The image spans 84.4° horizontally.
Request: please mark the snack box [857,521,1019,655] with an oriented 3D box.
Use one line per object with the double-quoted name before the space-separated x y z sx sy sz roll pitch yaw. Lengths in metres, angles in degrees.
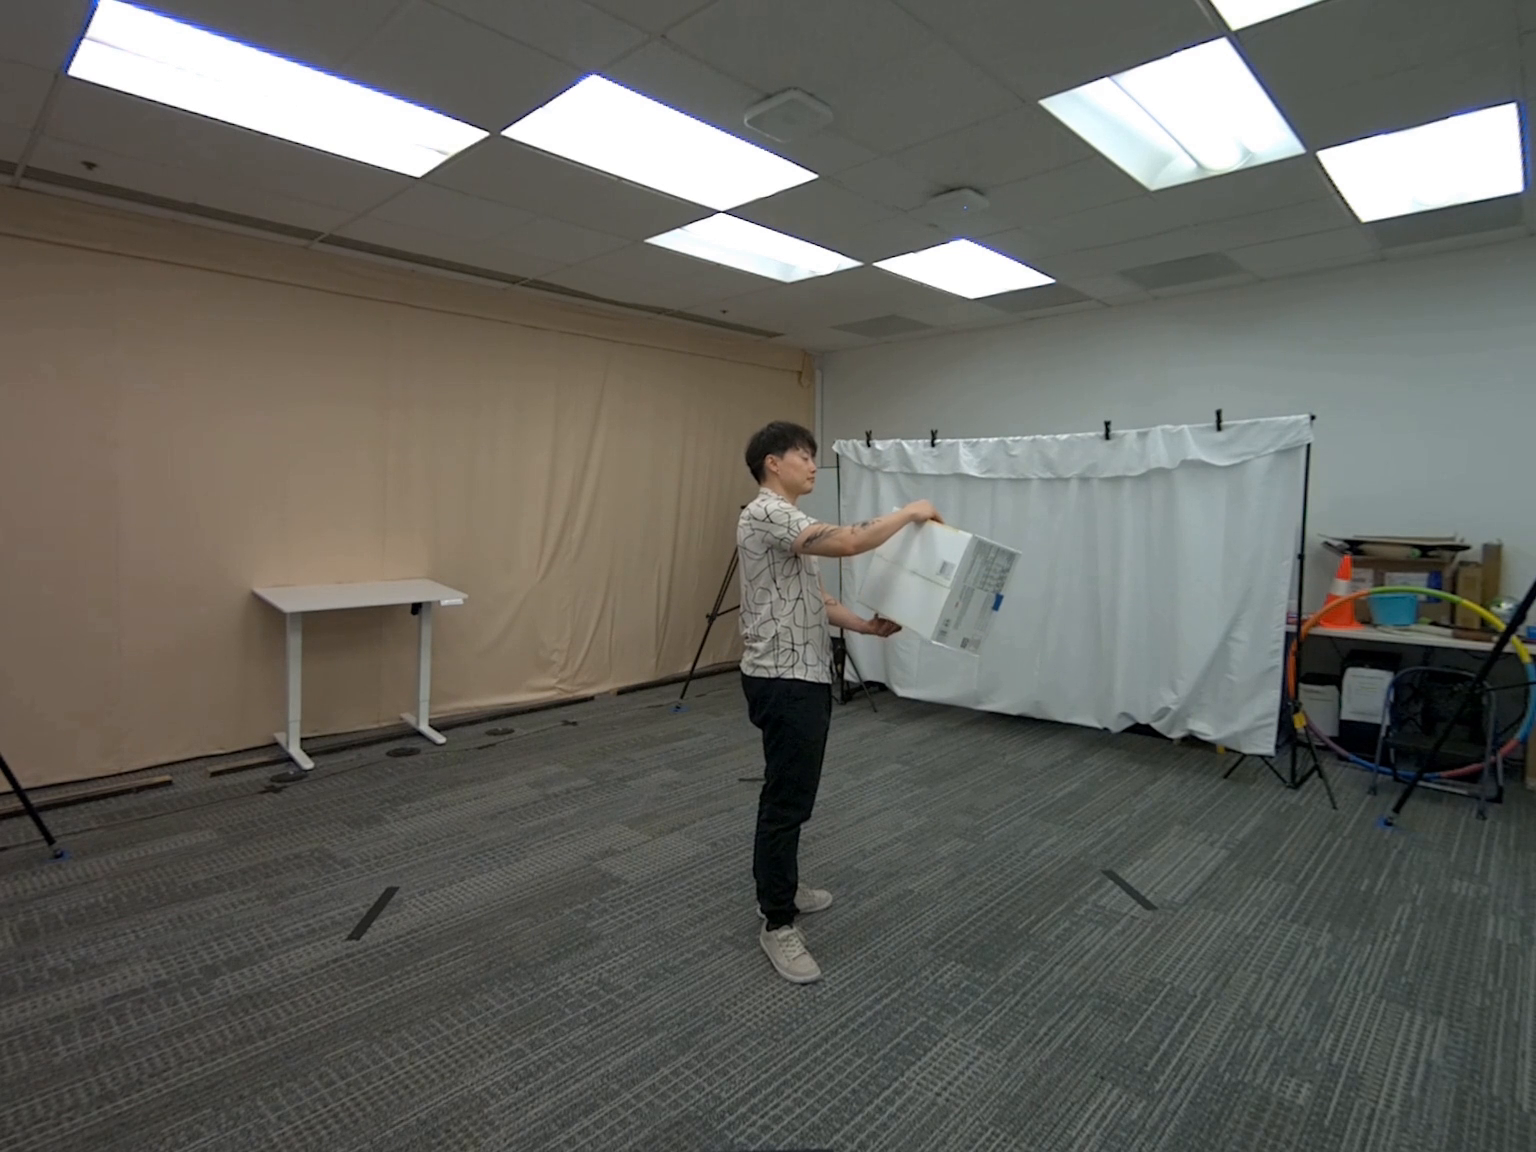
"snack box" 0.527 0.012 2.628 0.199 0.340 0.418 18 6 -29
